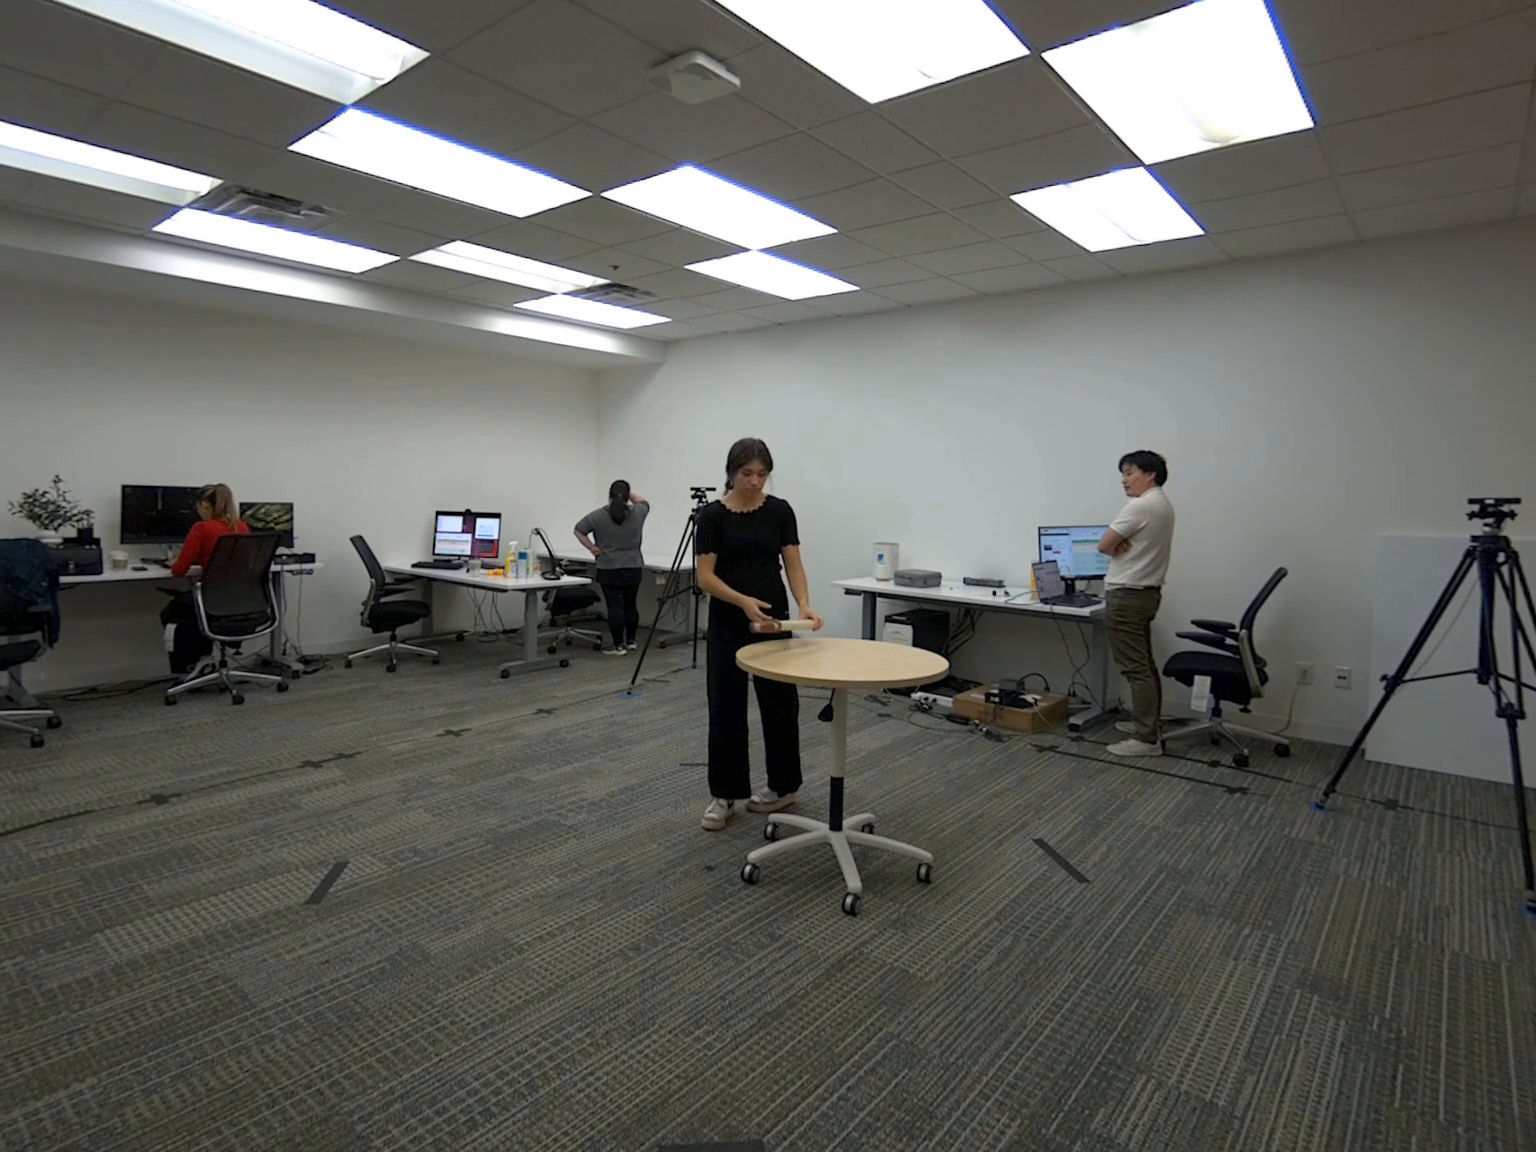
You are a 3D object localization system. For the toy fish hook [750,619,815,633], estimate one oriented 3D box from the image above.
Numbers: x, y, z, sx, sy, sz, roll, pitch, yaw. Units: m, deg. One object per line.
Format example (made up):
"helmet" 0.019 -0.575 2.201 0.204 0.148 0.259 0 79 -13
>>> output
"toy fish hook" -0.003 0.187 3.232 0.230 0.048 0.491 -7 -6 27
